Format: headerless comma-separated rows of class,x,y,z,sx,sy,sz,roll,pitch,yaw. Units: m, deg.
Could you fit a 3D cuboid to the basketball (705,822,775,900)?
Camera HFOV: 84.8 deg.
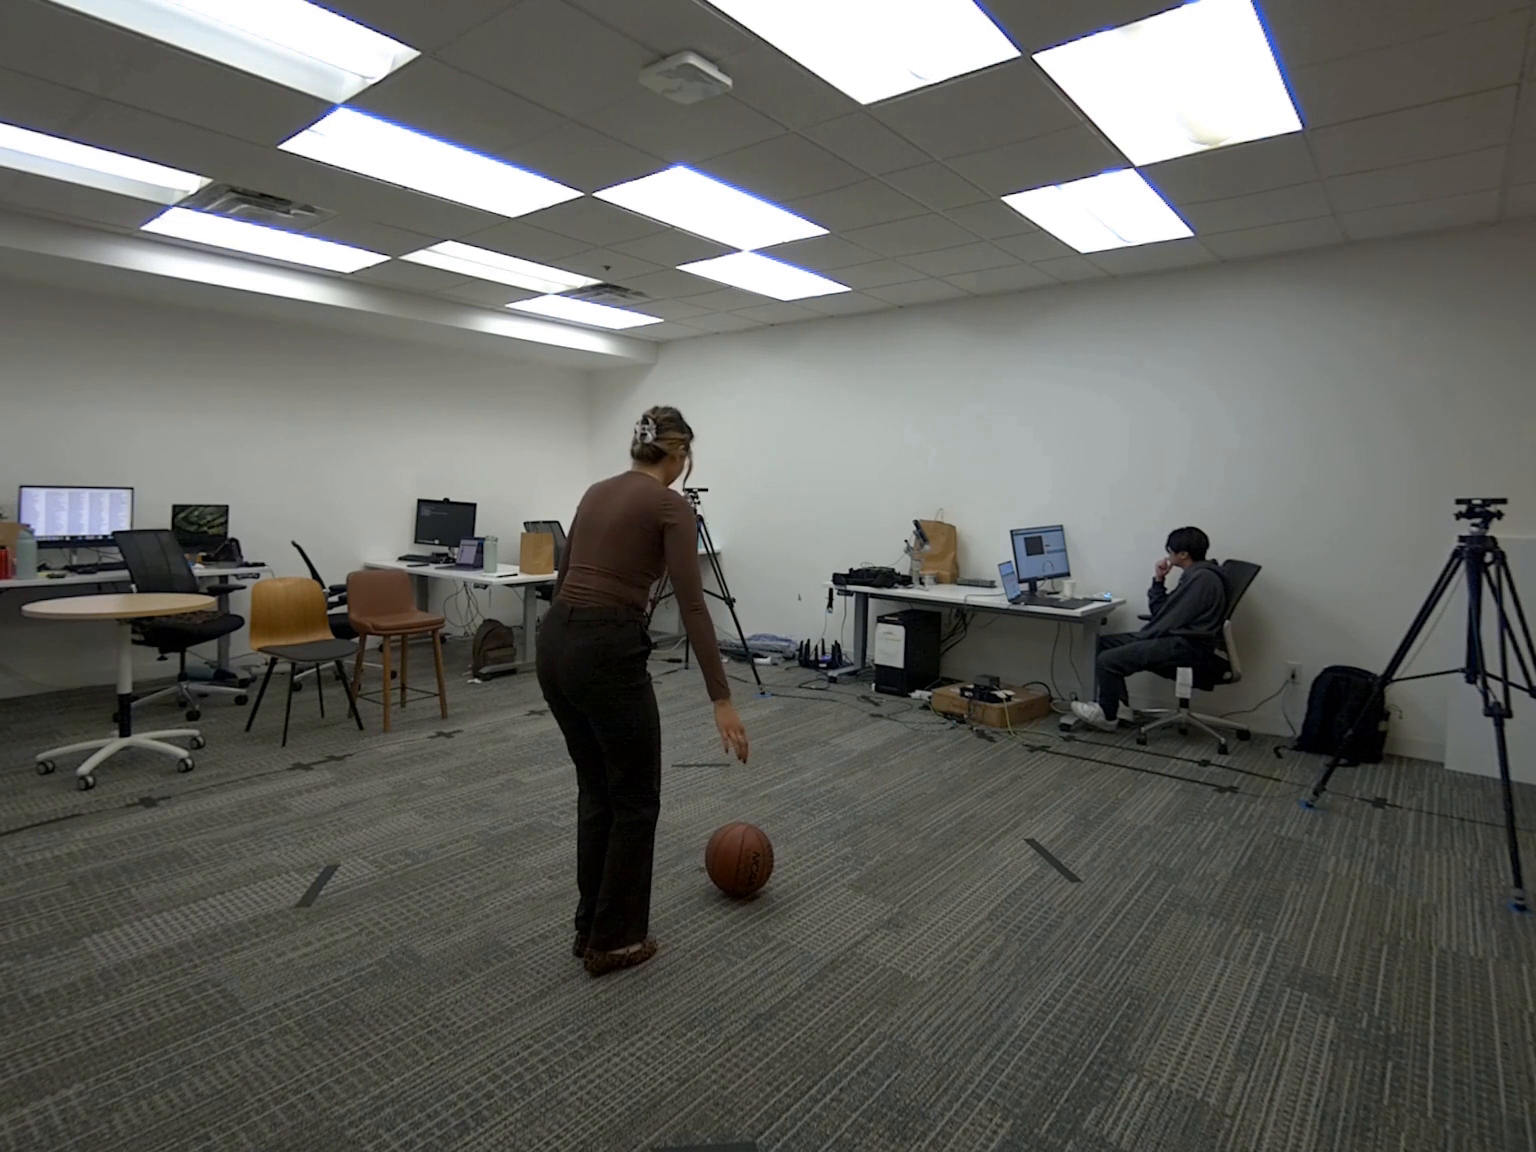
basketball,-0.104,0.965,2.933,0.235,0.235,0.237,1,4,-2
